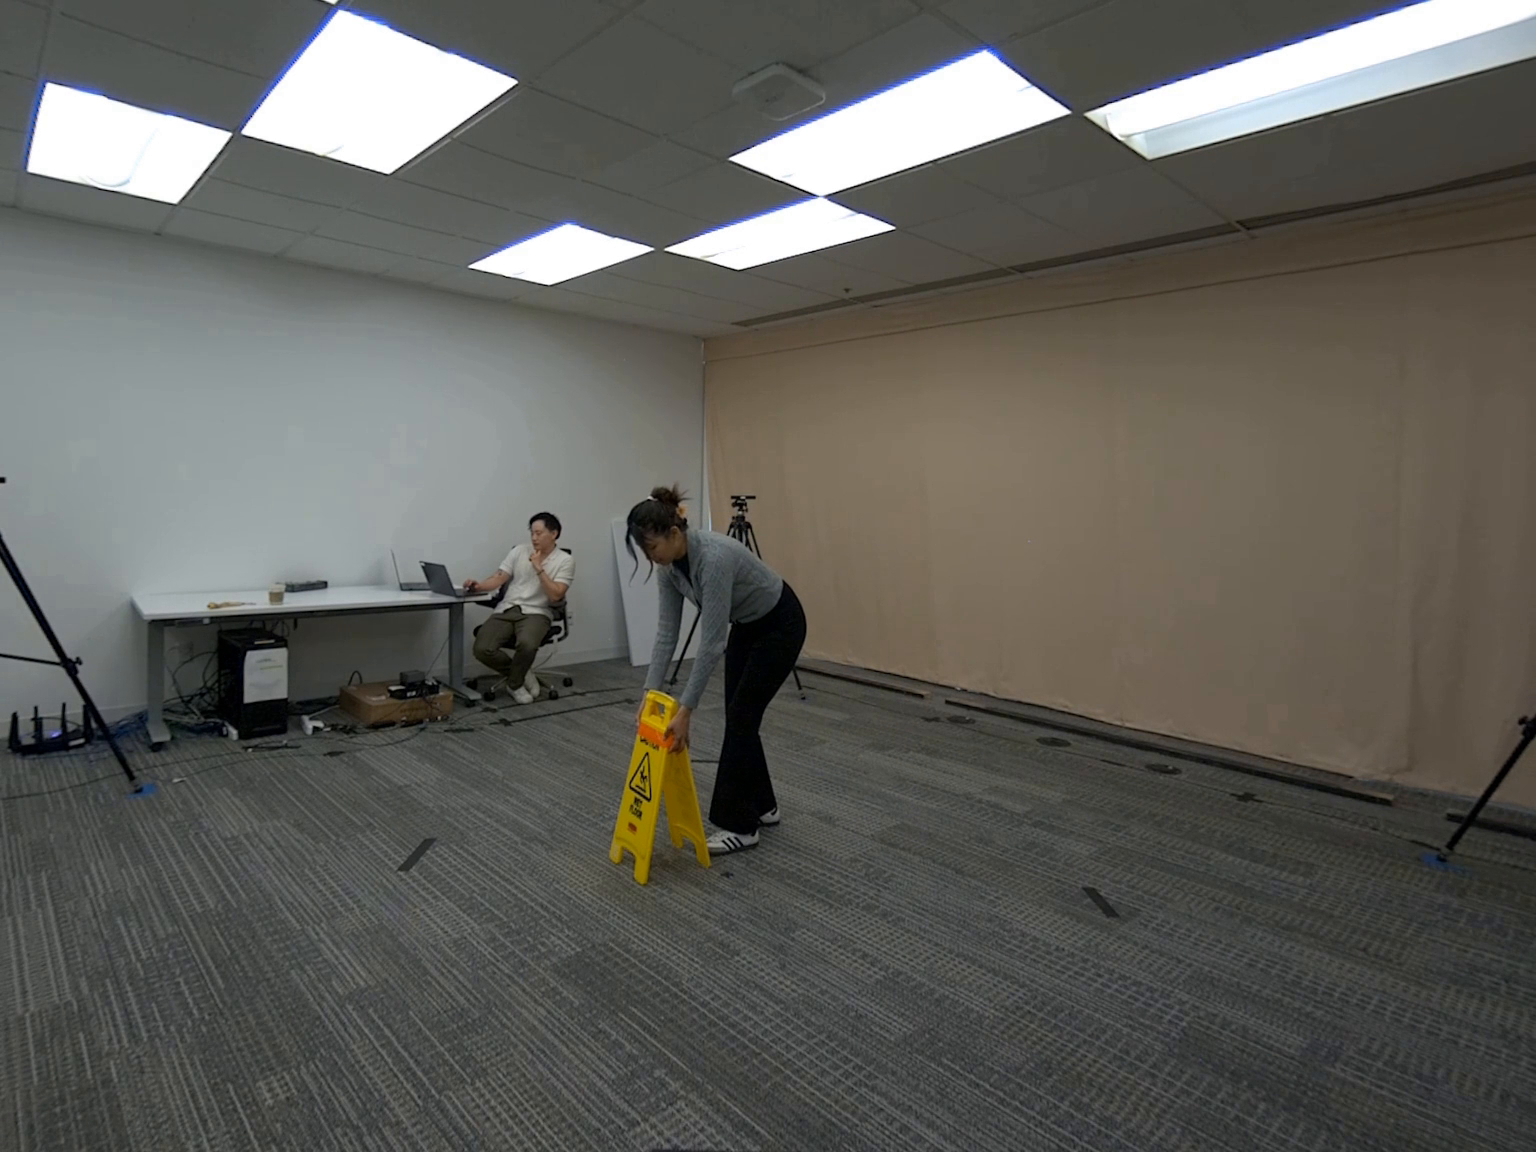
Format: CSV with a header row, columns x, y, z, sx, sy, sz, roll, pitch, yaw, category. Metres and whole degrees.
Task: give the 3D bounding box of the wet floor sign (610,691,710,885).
x,y,z,sx,sy,sz,roll,pitch,yaw,category
-0.413,0.768,3.168,0.283,0.645,0.289,-2,4,-35,wet floor sign
